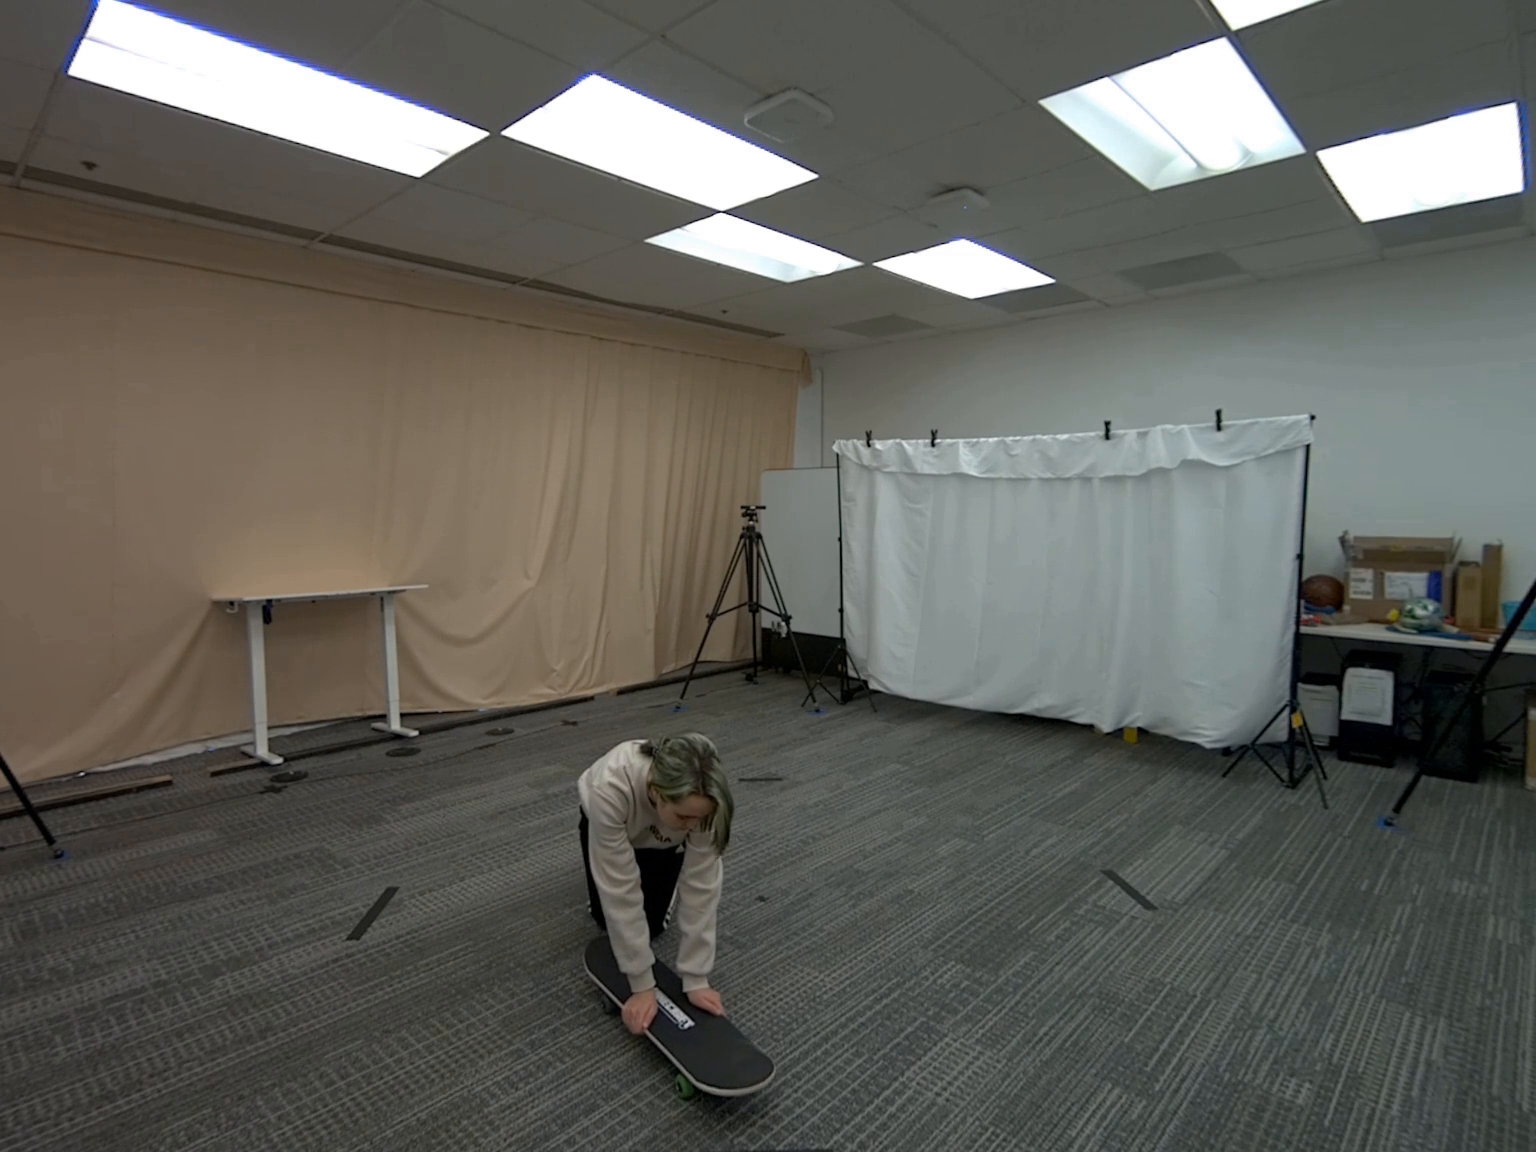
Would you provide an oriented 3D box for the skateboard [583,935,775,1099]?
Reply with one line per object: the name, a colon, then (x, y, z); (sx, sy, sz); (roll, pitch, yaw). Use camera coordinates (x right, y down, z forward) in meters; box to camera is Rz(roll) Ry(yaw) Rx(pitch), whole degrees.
skateboard: (-0.261, 1.150, 2.202); (0.188, 0.110, 0.810); (-3, 5, -36)
